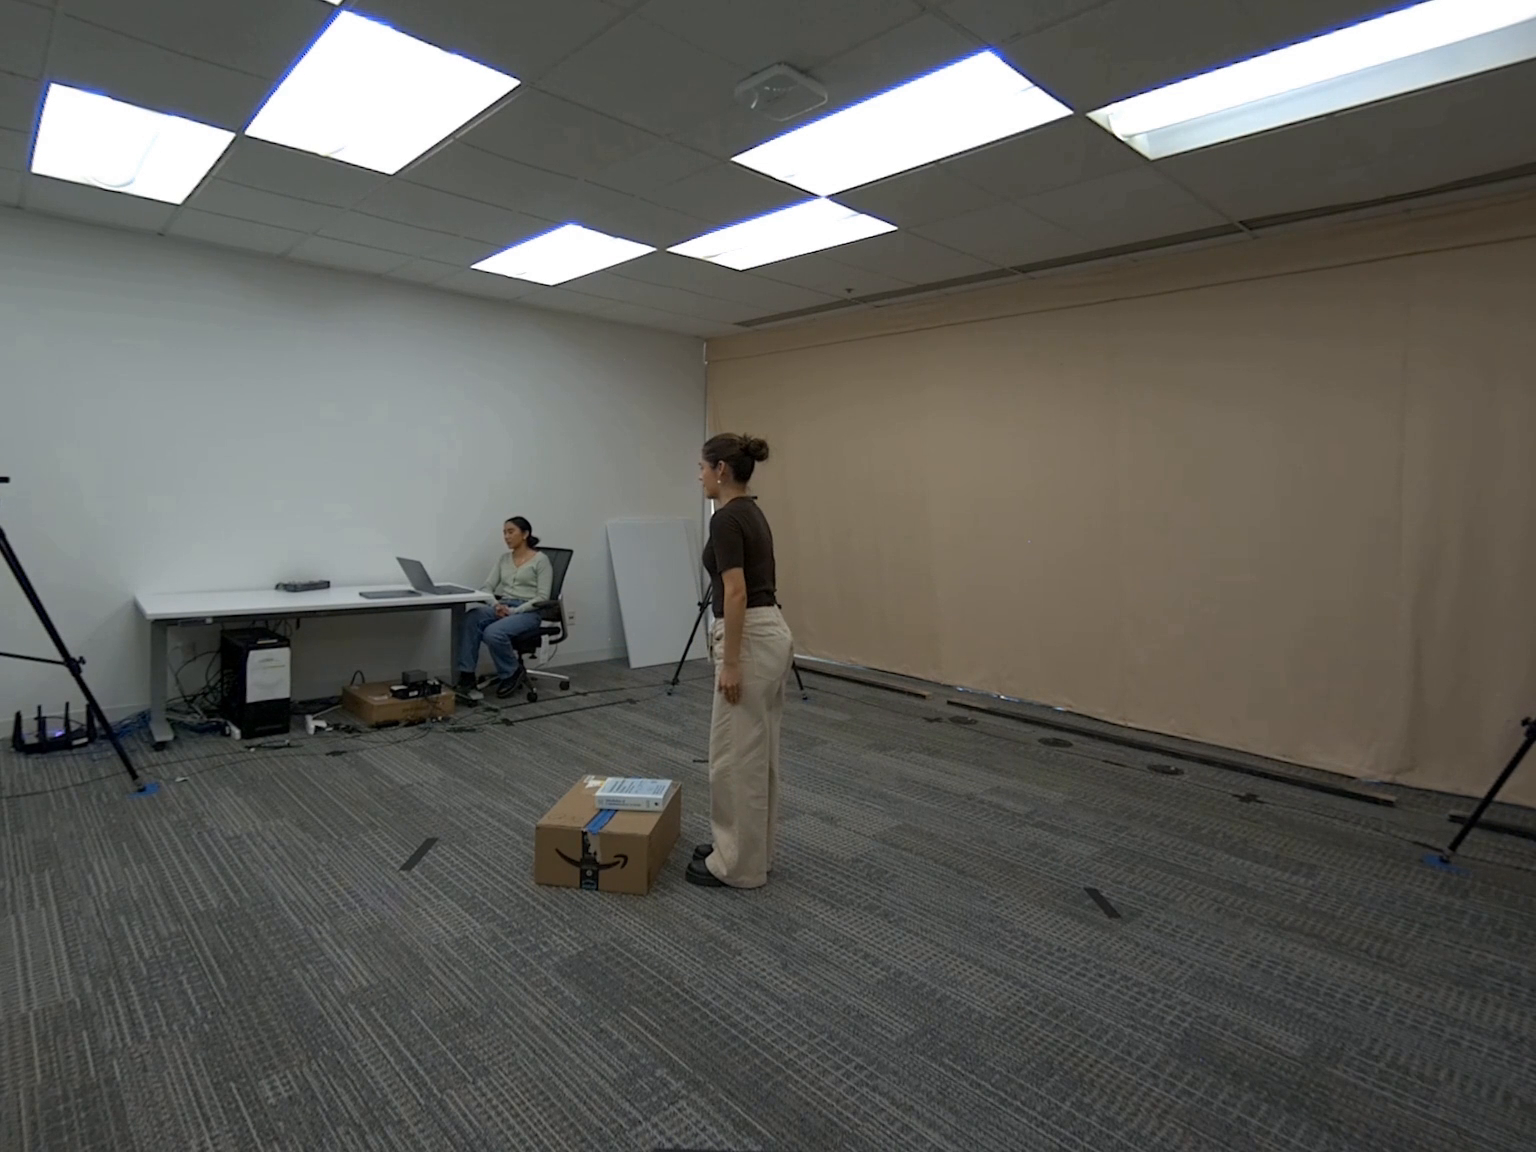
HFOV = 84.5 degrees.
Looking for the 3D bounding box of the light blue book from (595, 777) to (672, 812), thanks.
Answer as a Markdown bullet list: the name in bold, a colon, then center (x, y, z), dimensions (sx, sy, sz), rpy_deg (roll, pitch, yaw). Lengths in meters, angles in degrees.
- **light blue book**: center (-0.518, 0.838, 3.242), dimensions (0.262, 0.059, 0.191), rpy_deg (1, 6, 7)
